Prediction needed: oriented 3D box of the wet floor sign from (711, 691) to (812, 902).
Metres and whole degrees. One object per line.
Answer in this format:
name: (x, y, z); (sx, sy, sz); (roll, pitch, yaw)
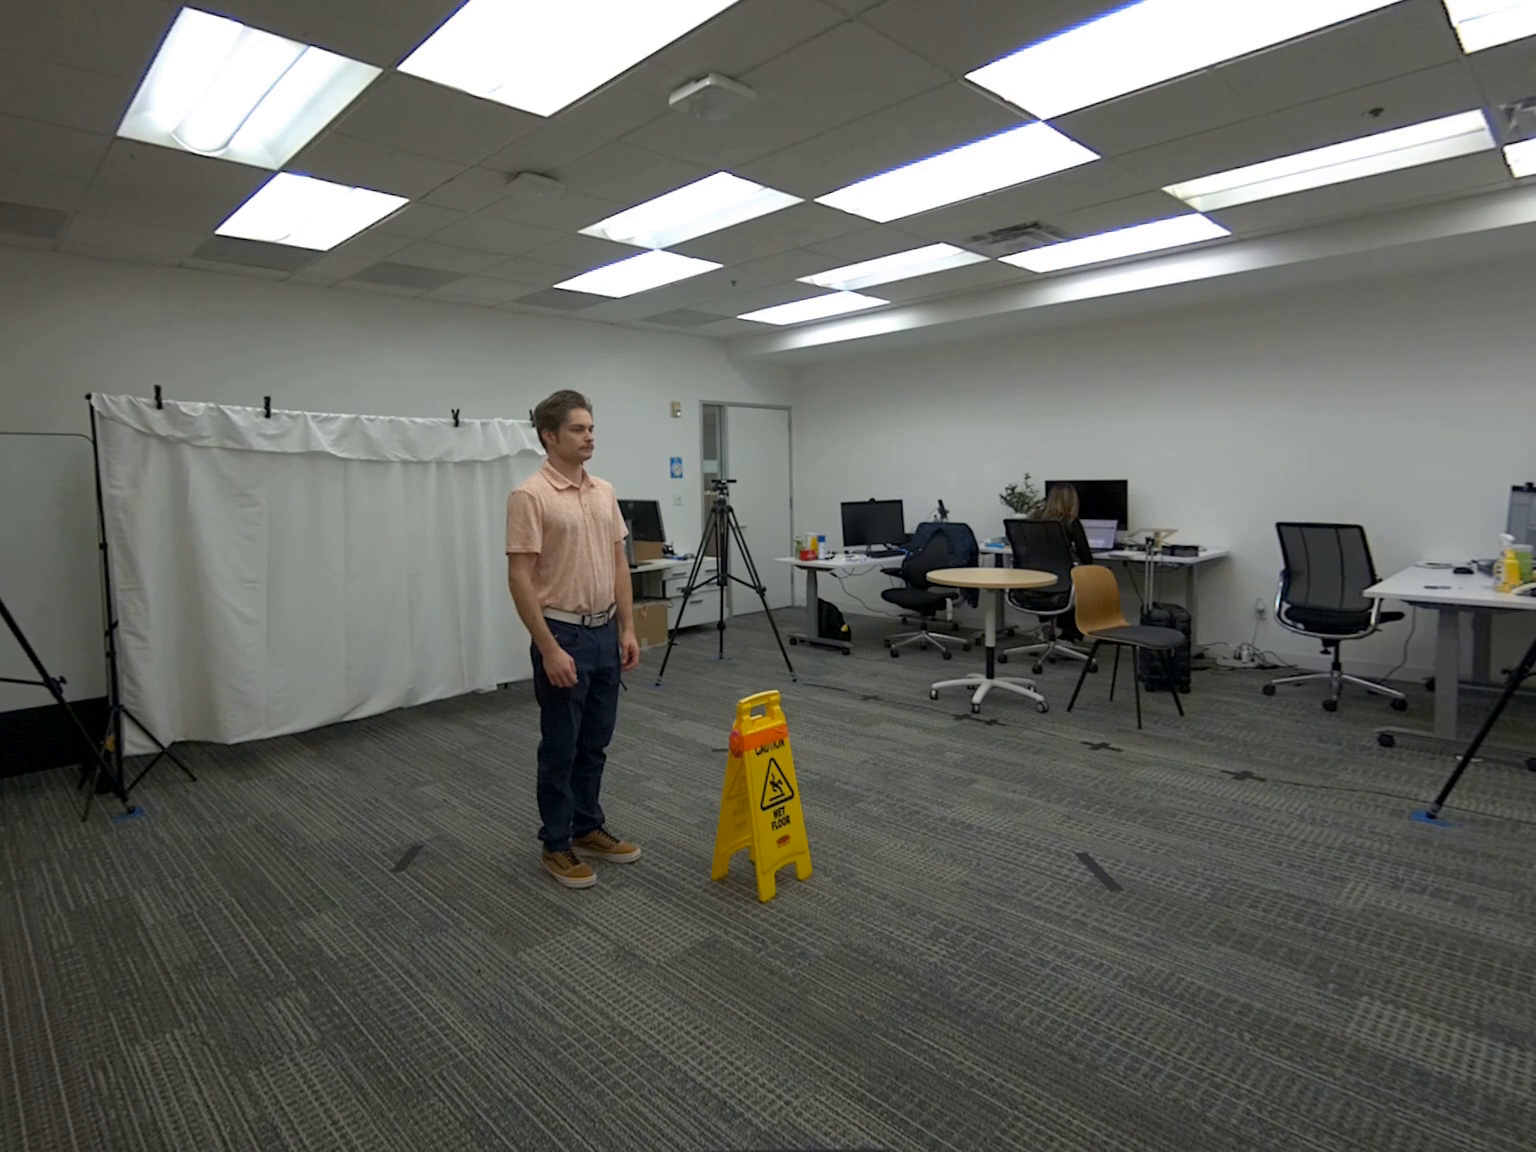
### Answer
wet floor sign: (-0.024, 0.729, 2.977); (0.299, 0.643, 0.275); (4, 6, 42)
